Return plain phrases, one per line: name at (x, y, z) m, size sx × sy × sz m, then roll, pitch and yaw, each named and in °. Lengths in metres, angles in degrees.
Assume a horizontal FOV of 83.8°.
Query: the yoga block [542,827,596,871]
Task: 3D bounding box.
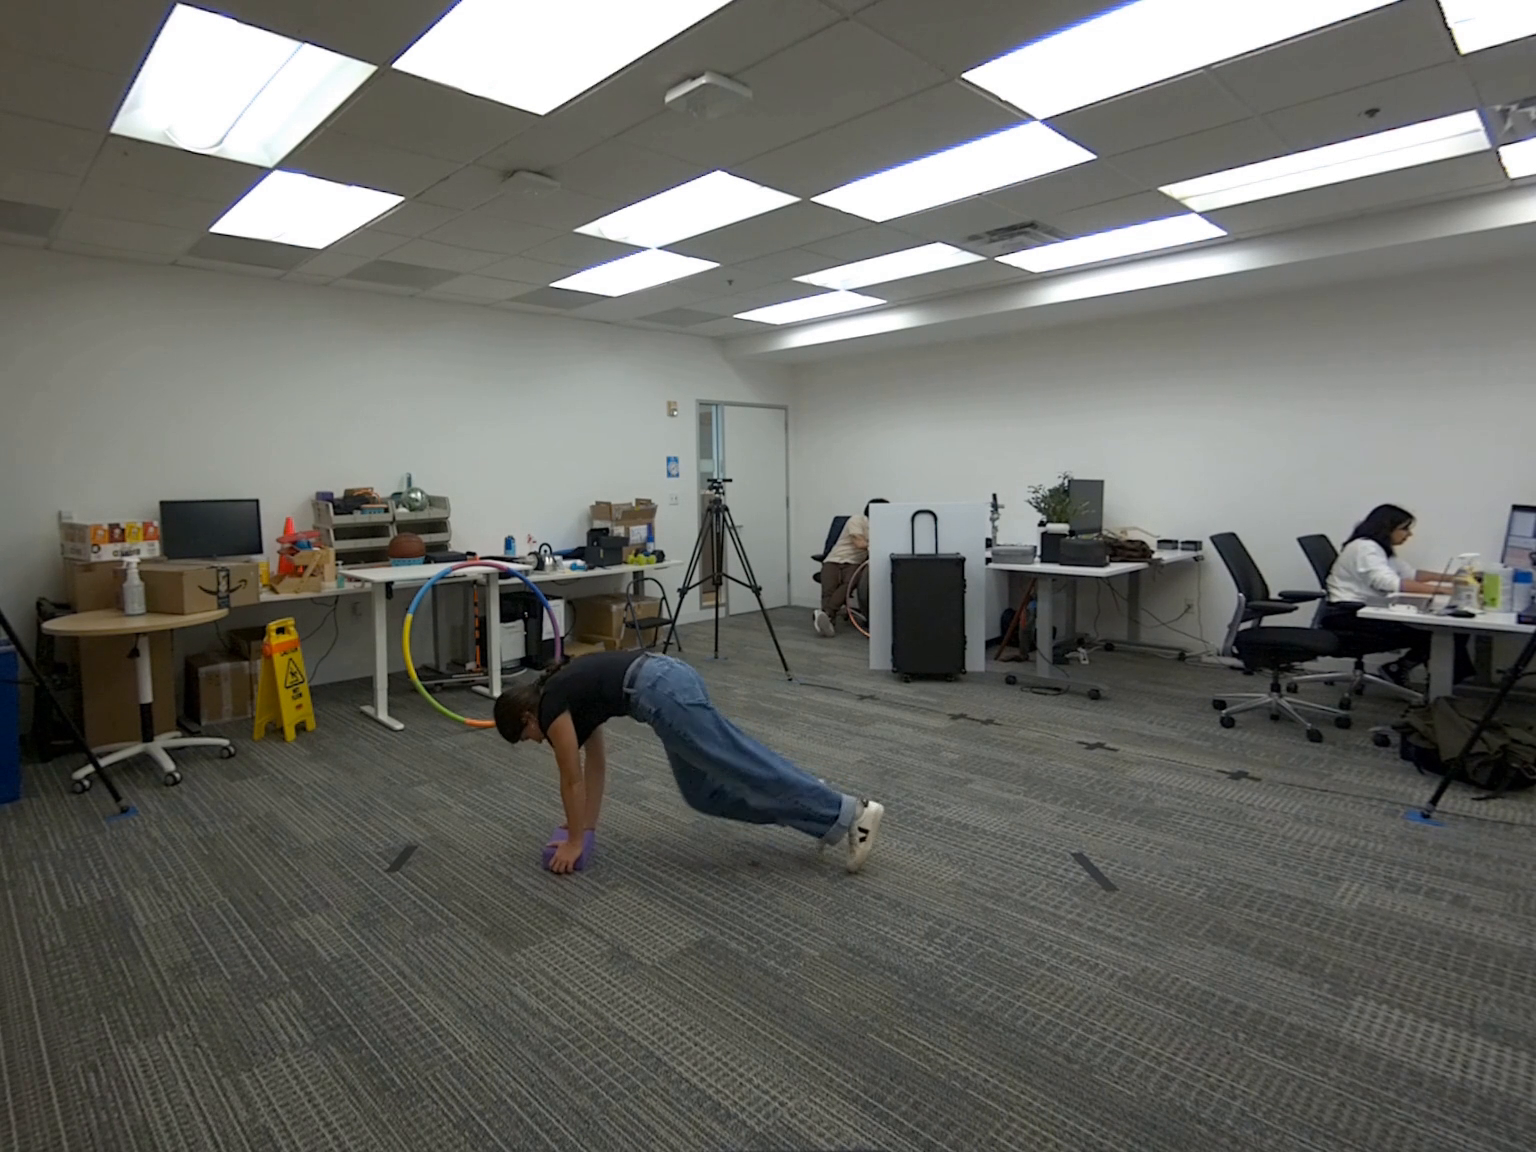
yoga block at (-0.744, 1.015, 3.198) m, size 0.149 × 0.076 × 0.230 m, roll 1°, pitch 7°, yaw 1°
